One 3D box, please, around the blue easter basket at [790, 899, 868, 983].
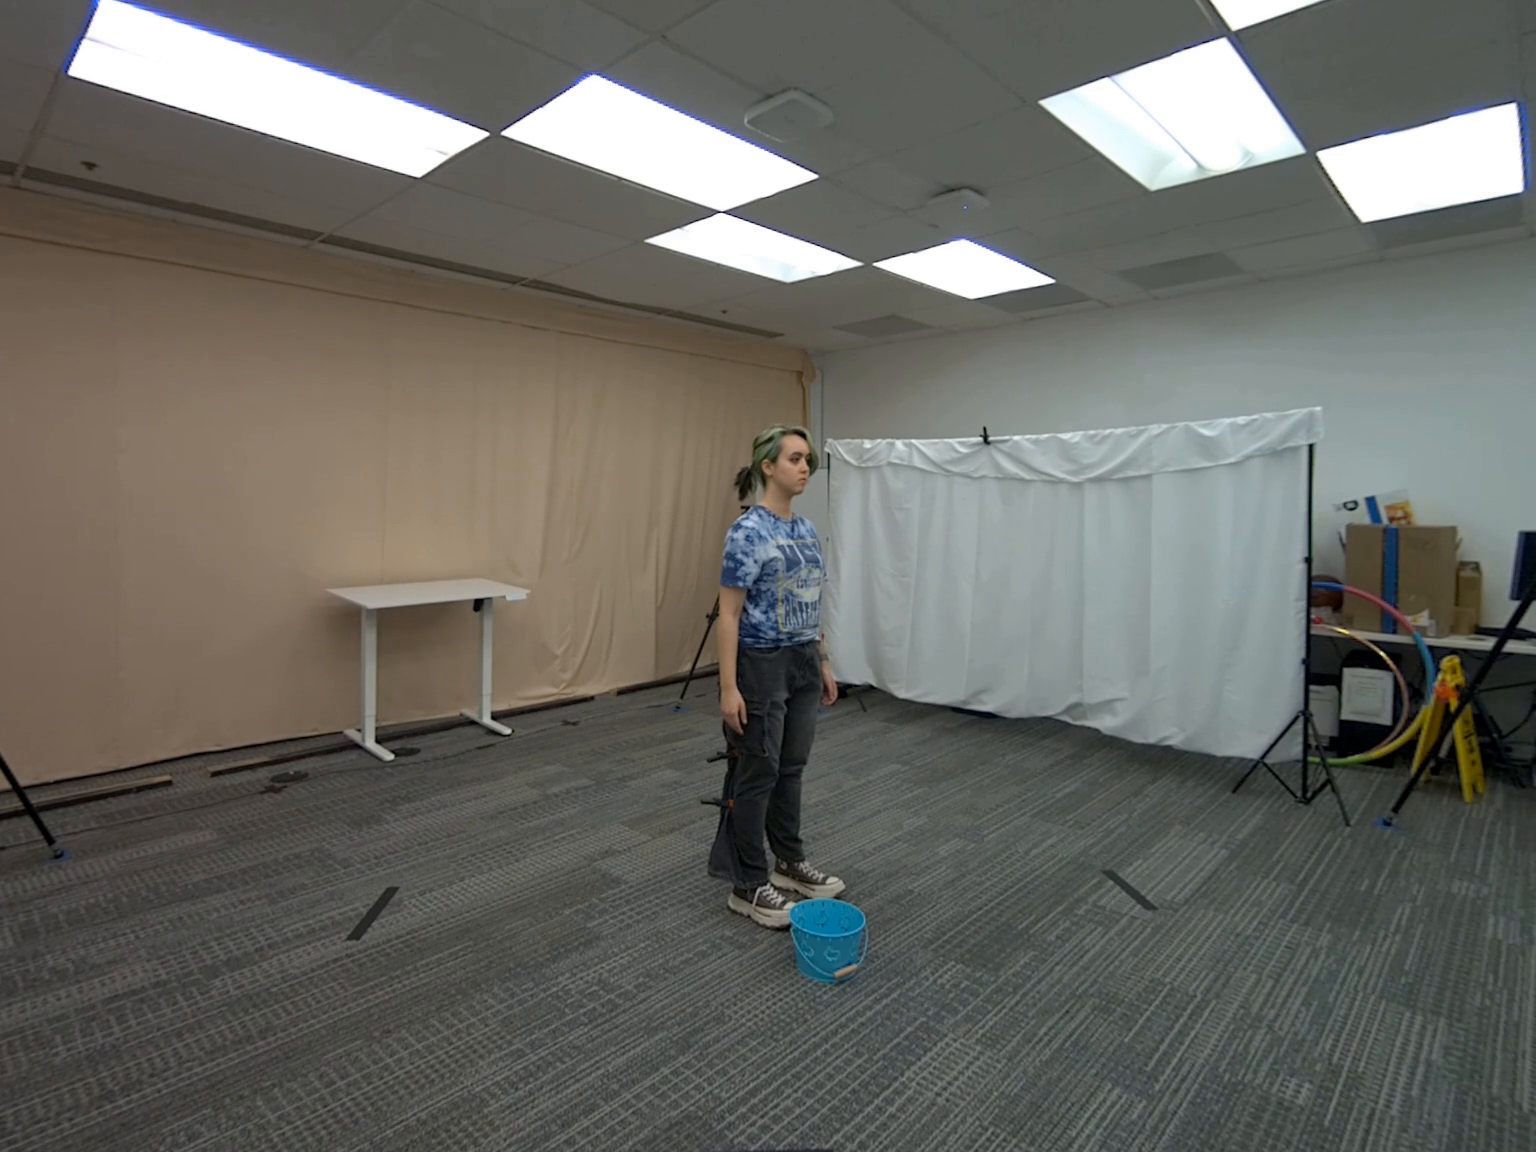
[{"bbox_3d":[0.178,1.101,2.537,0.243,0.155,0.244,0,4,-2],"label":"blue easter basket"}]
